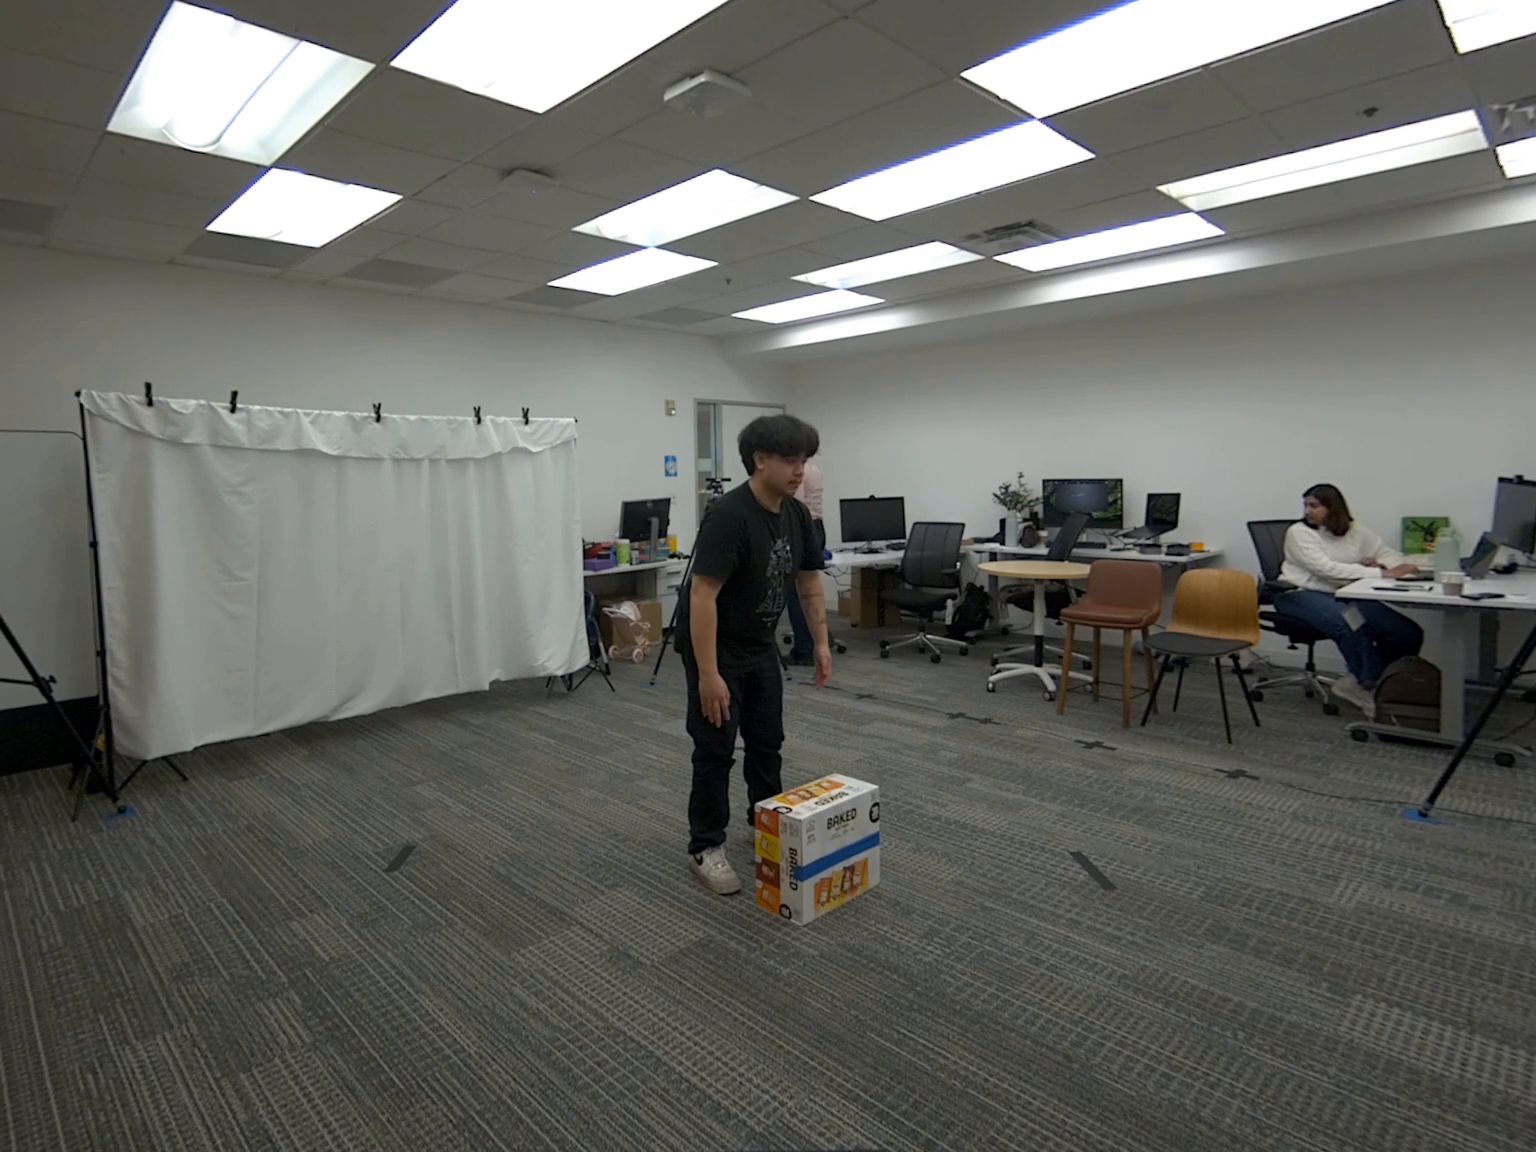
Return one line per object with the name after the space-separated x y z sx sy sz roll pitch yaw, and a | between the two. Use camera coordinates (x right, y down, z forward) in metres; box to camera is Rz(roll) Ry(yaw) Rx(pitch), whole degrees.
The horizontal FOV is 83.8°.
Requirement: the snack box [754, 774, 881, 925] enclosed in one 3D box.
0.173 0.897 2.856 0.394 0.339 0.212 -6 6 -44 | snack box
